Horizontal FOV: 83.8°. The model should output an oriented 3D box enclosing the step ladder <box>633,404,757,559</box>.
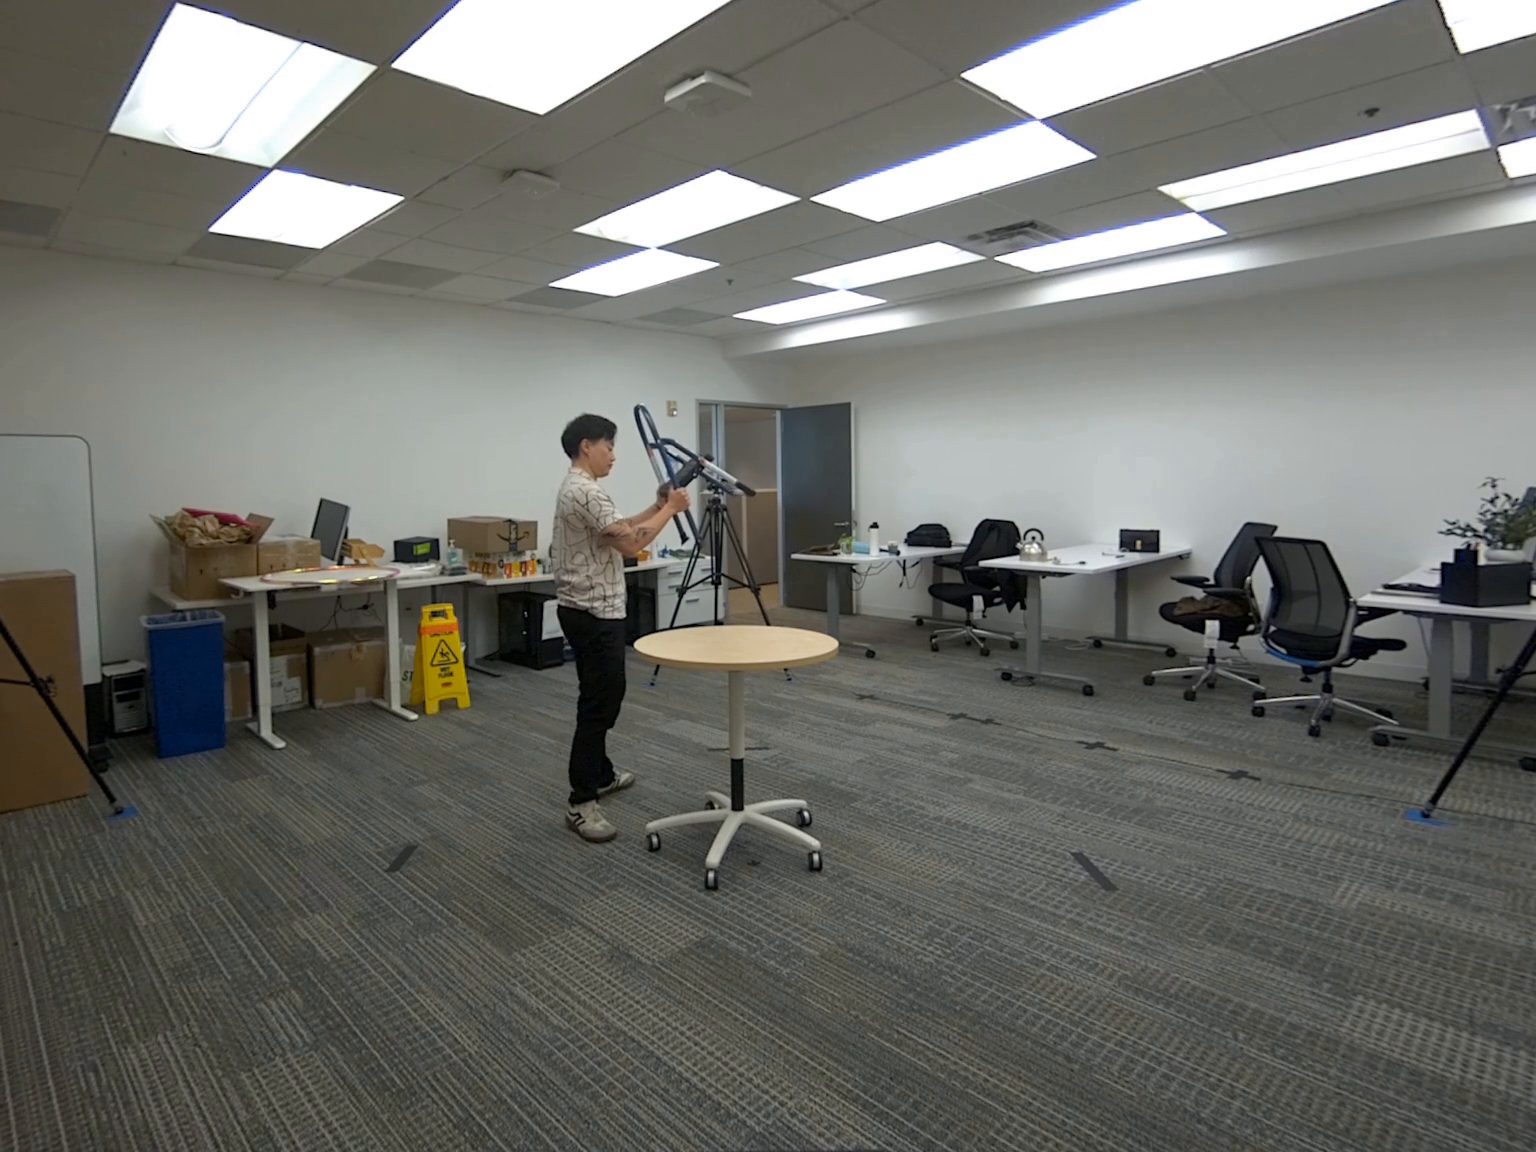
[{"bbox_3d":[-0.418,-0.464,3.717,0.349,0.598,0.437,-43,11,-6],"label":"step ladder"}]
